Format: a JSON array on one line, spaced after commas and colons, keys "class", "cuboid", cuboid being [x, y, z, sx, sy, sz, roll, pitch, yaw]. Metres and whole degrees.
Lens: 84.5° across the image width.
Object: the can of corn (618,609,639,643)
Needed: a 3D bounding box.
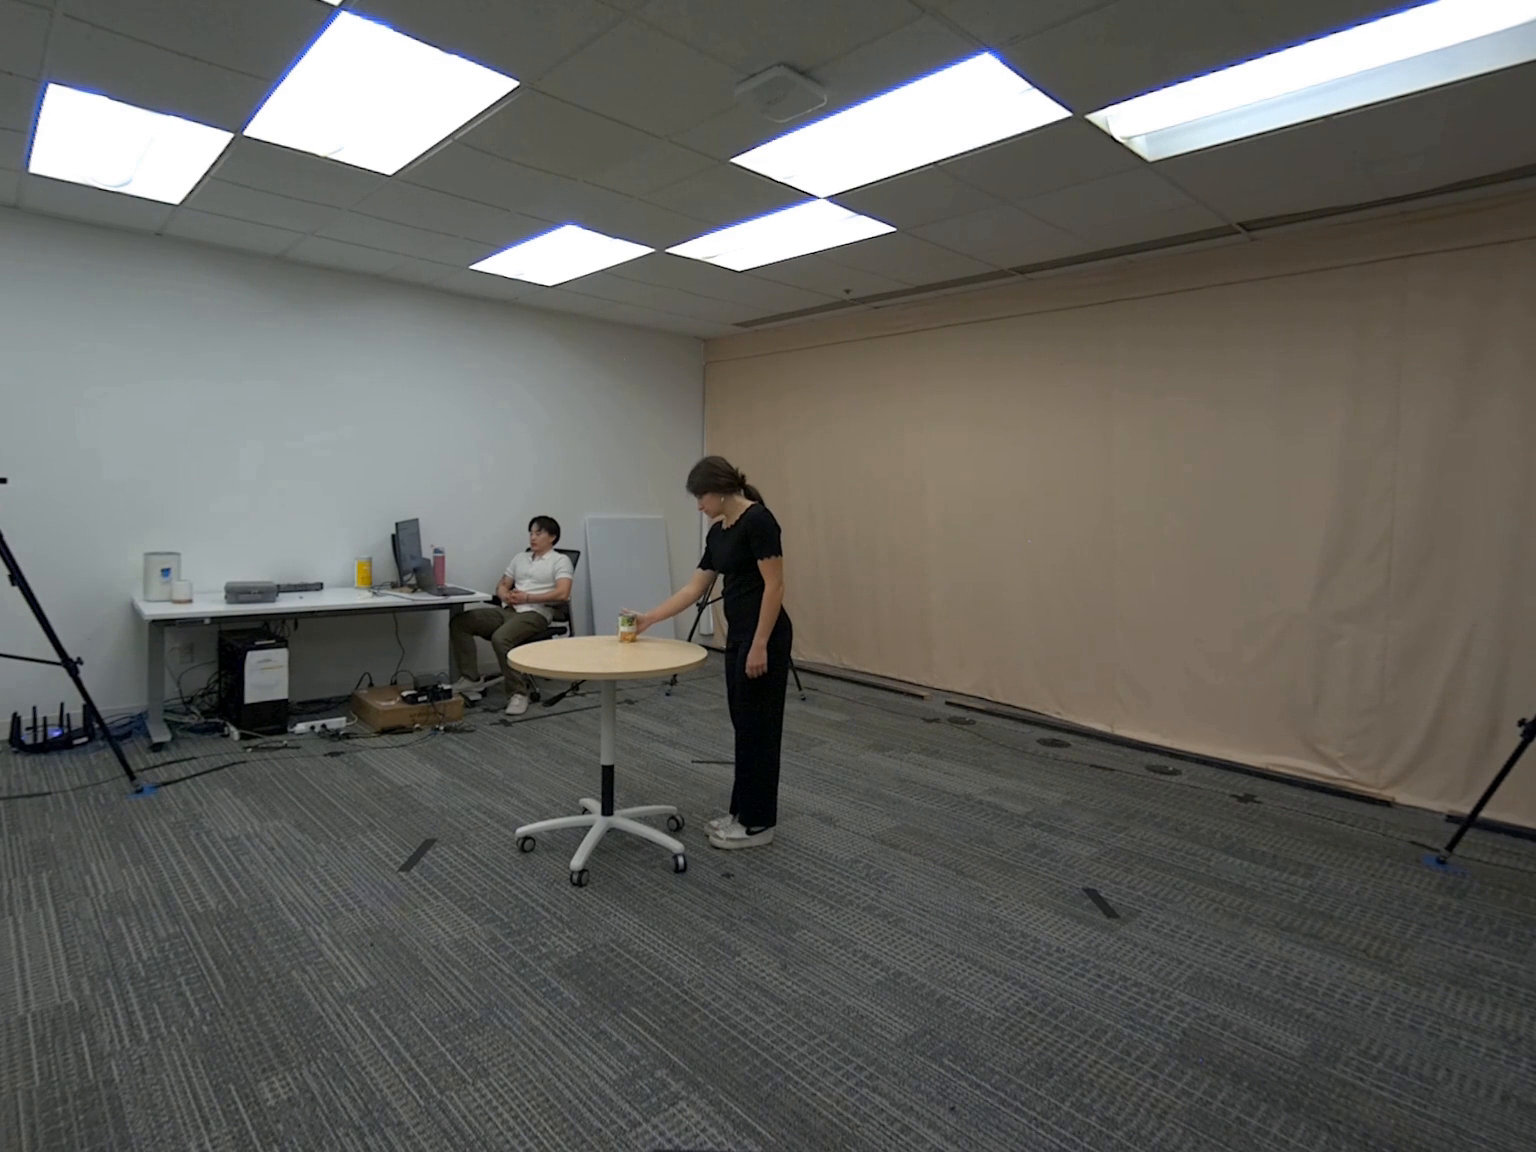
[{"class": "can of corn", "cuboid": [-0.592, 0.220, 3.516, 0.074, 0.111, 0.074, 4, 0, -1]}]
